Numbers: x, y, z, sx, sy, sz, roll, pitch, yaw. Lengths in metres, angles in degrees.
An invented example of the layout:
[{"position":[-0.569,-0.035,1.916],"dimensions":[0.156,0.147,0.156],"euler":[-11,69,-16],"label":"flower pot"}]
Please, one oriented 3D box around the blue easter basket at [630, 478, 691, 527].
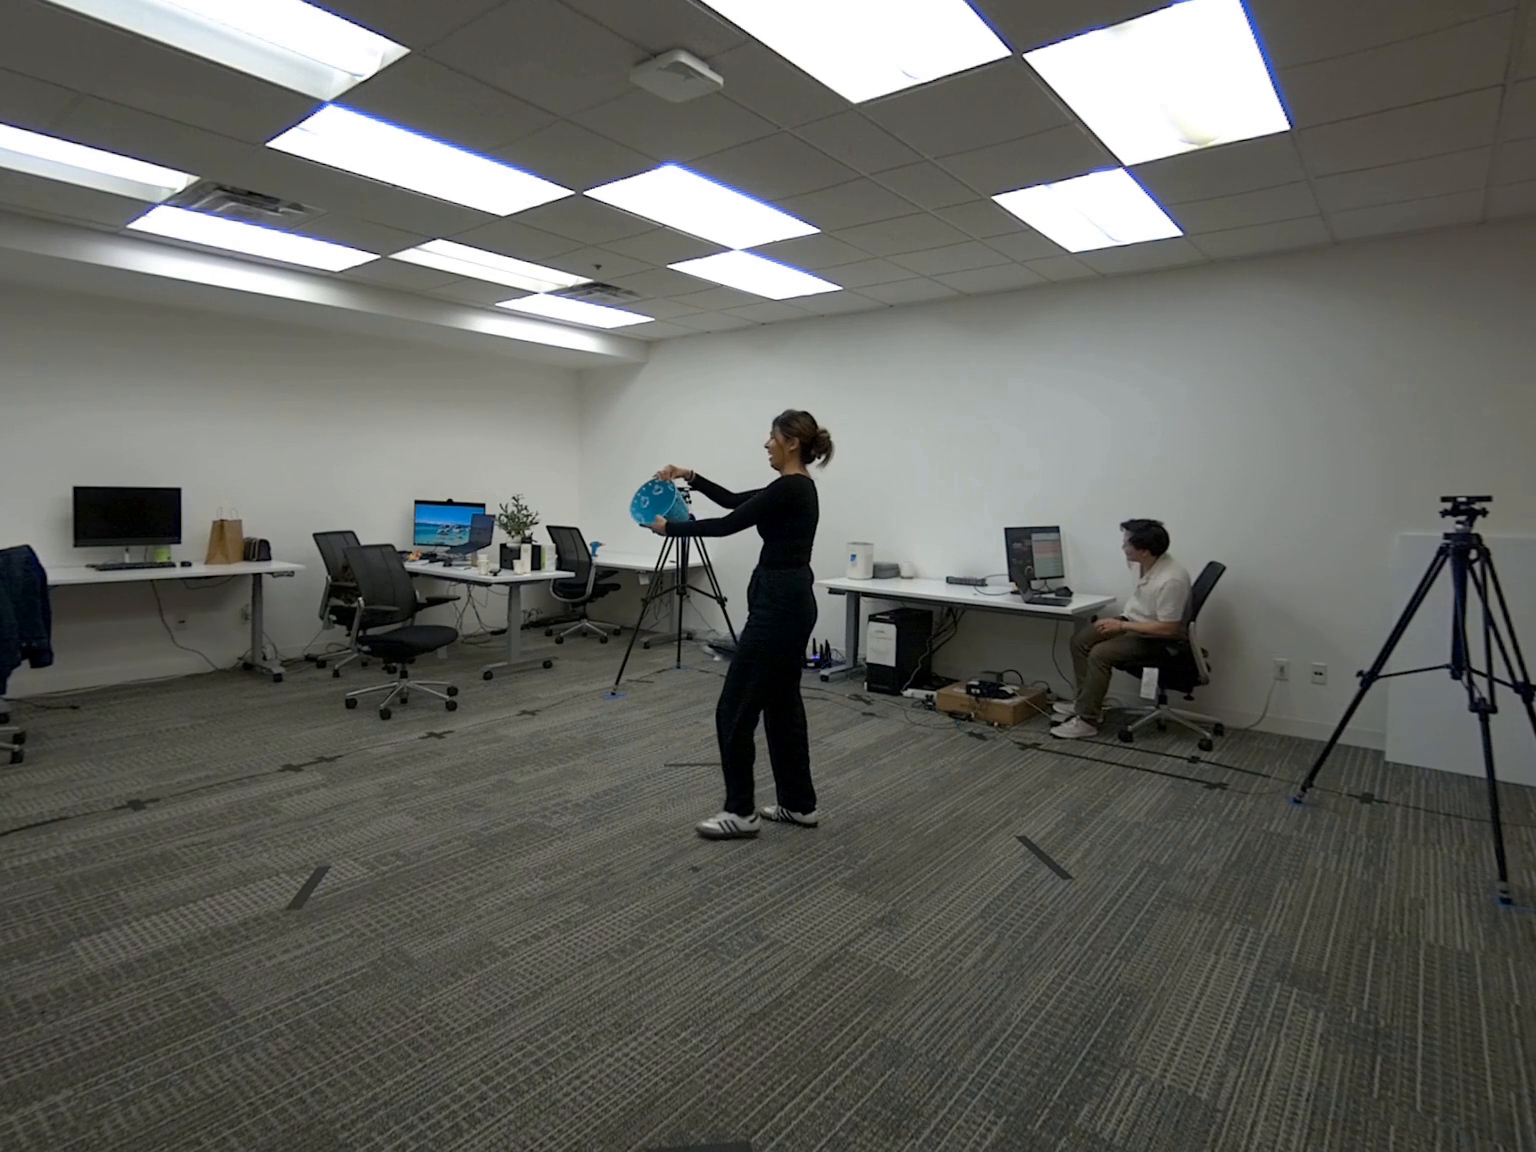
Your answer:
[{"position":[-0.465,-0.291,3.614],"dimensions":[0.251,0.247,0.149],"euler":[3,-27,31],"label":"blue easter basket"}]
